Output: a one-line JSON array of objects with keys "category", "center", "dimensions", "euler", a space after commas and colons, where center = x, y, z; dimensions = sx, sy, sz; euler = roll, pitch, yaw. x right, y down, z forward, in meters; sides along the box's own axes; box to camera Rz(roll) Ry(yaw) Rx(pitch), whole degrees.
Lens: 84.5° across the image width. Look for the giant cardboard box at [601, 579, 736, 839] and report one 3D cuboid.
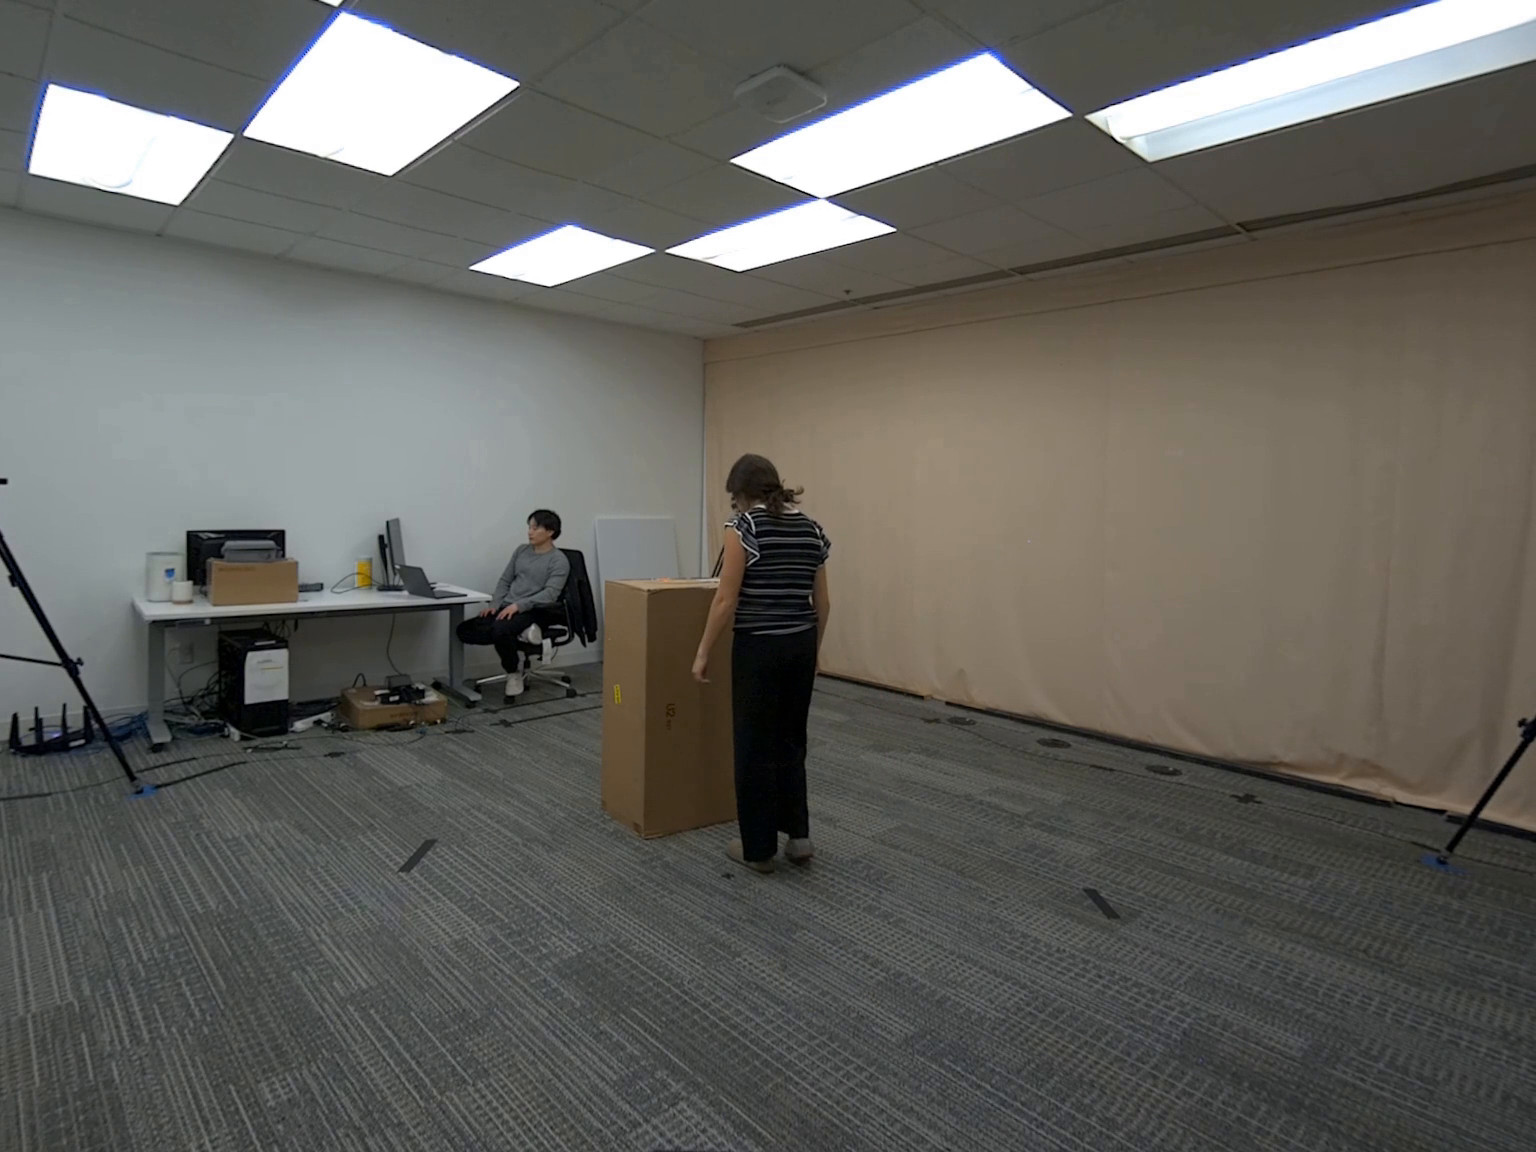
[{"category": "giant cardboard box", "center": [-0.390, 0.540, 3.722], "dimensions": [0.565, 1.024, 0.436], "euler": [0, 3, -35]}]
